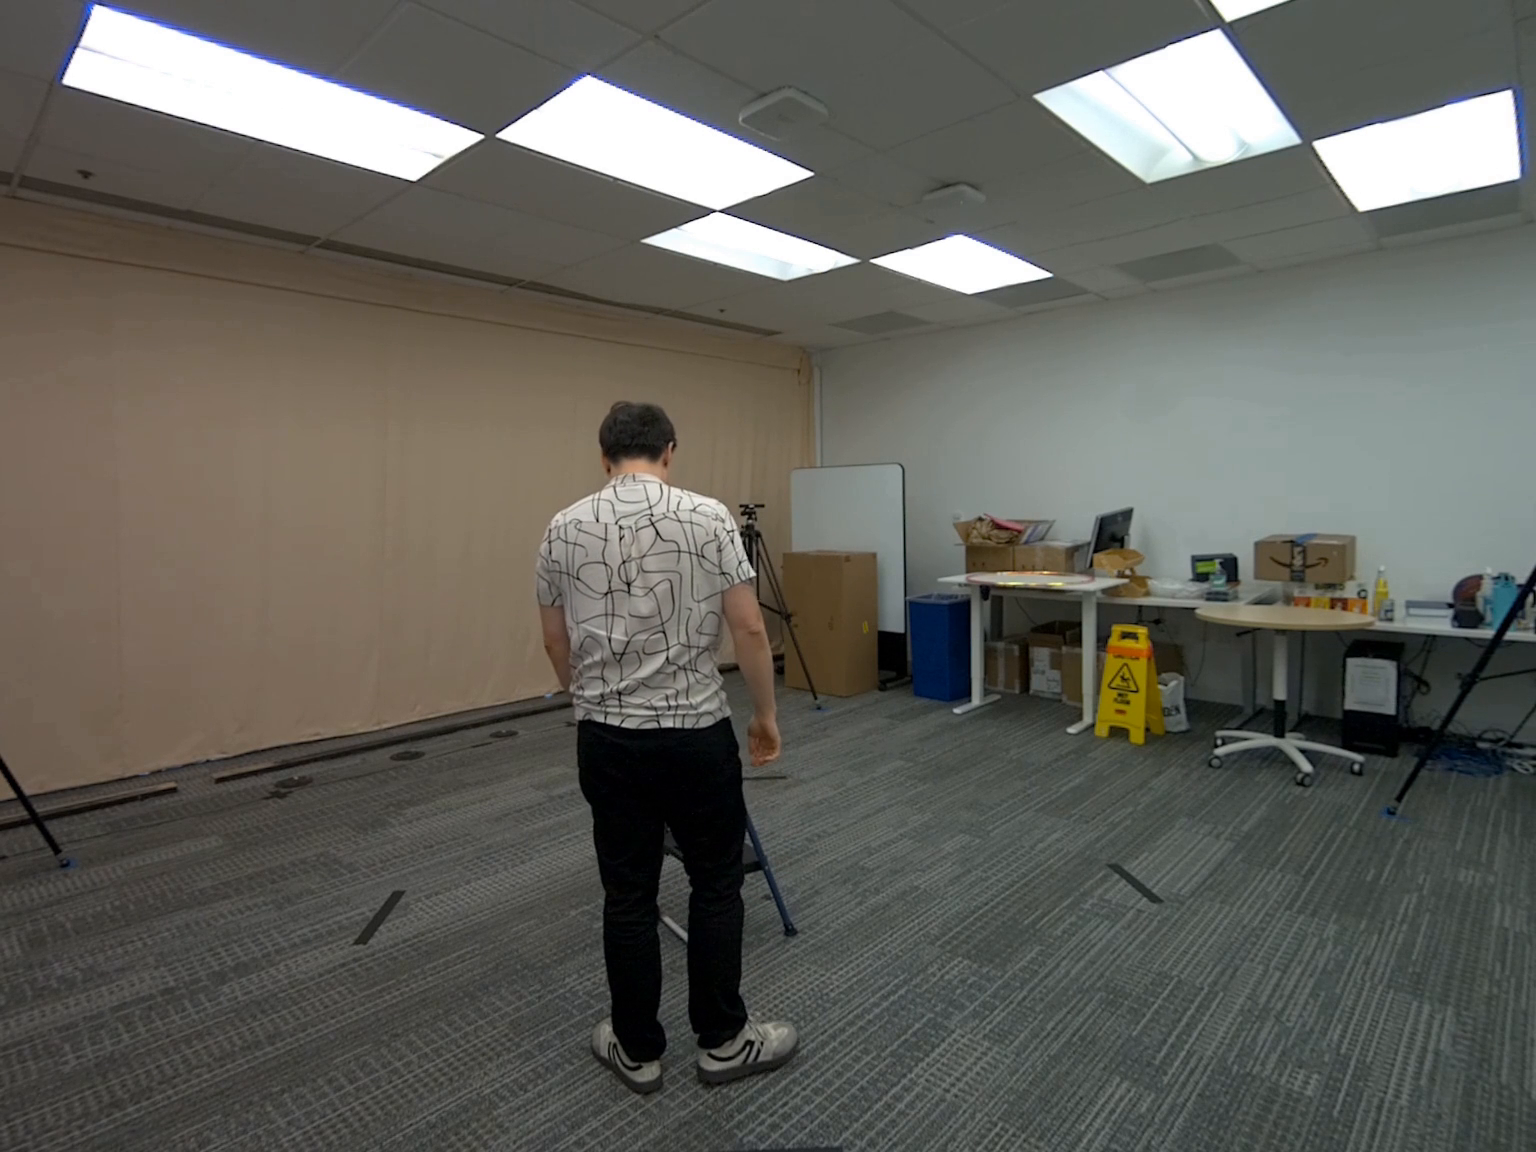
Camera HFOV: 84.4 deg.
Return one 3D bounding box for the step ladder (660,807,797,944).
[{"bbox_3d":[-0.172,0.853,2.804,0.340,0.604,0.444,-4,5,-33],"label":"step ladder"}]
